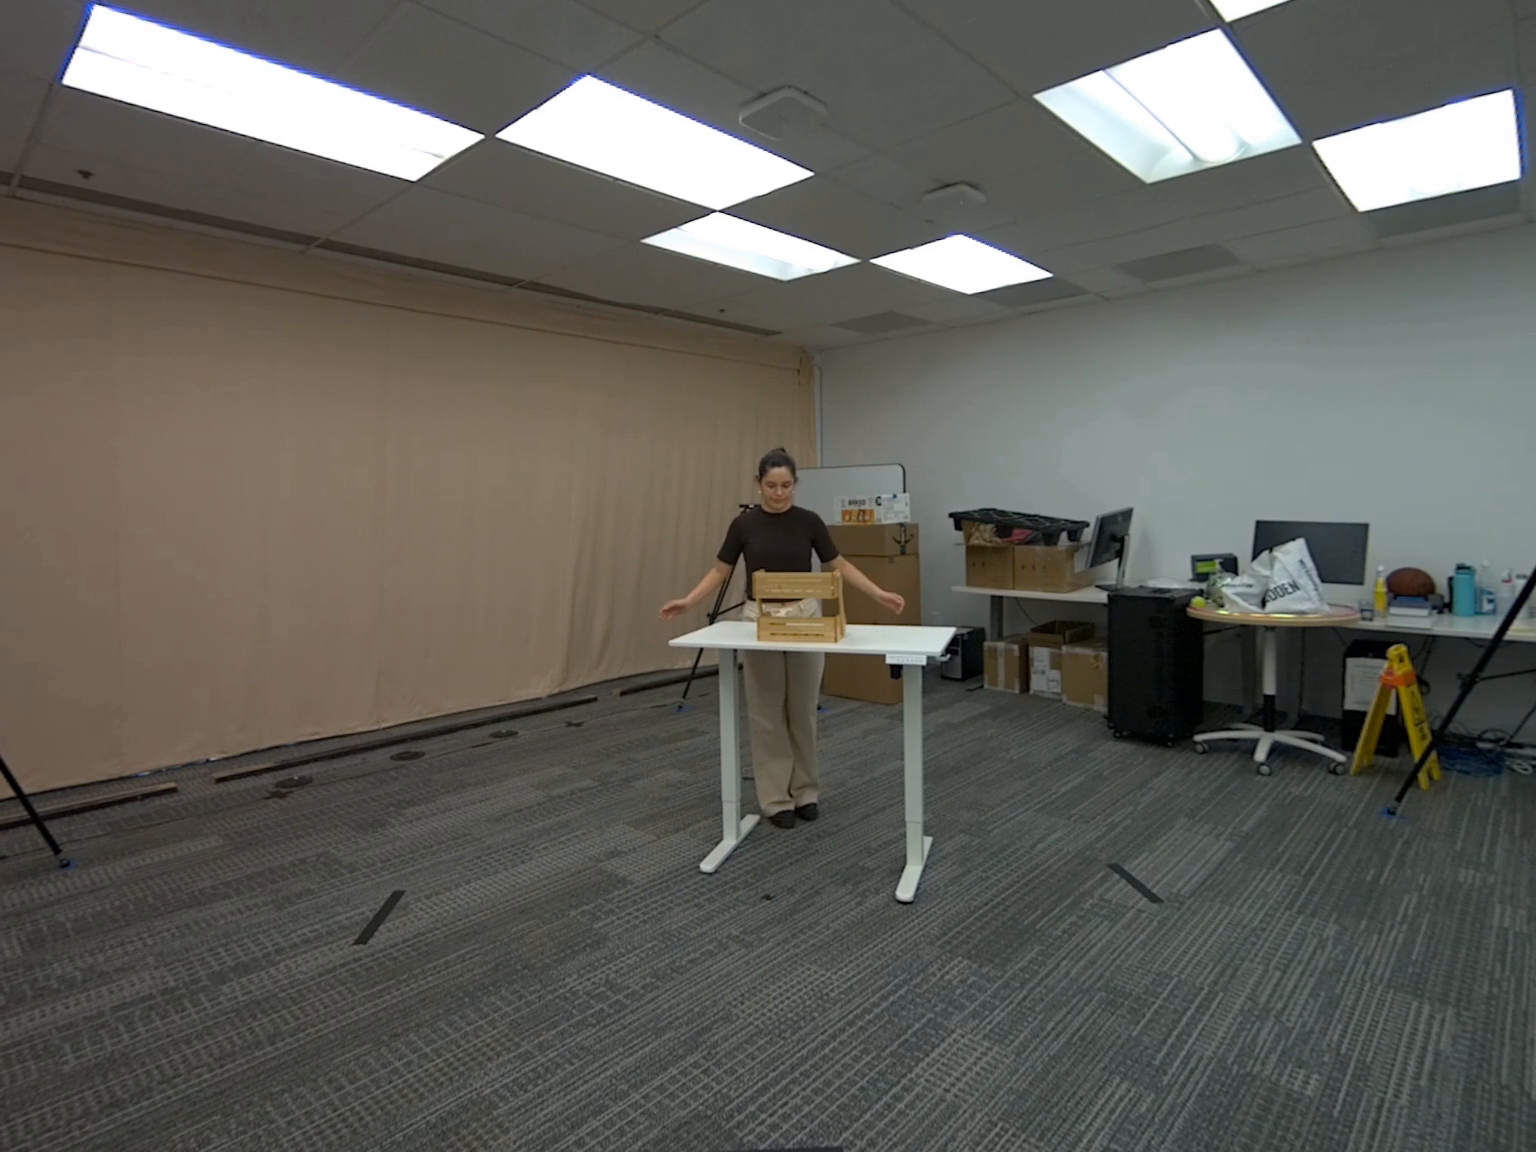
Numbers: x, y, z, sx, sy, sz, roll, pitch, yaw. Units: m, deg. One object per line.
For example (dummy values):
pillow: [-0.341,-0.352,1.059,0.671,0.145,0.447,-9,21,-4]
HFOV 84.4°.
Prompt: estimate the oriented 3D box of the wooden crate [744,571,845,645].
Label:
wooden crate: [0.127,0.103,3.205,0.330,0.273,0.298,0,4,14]
